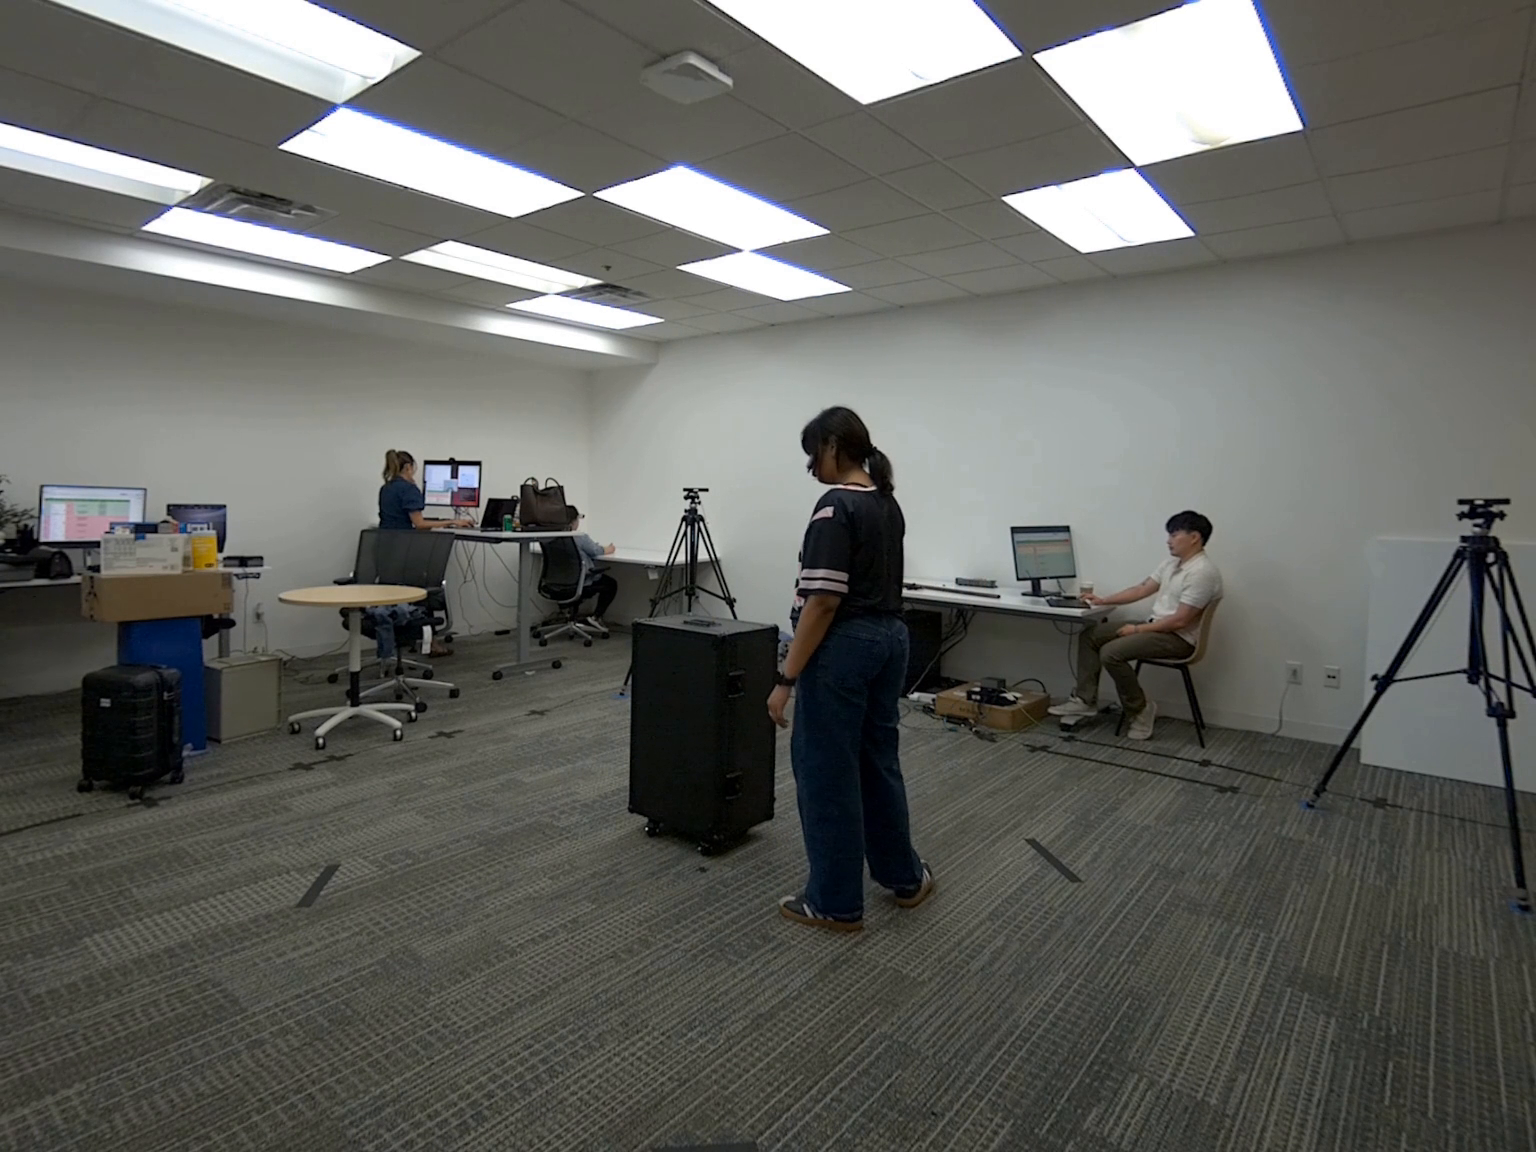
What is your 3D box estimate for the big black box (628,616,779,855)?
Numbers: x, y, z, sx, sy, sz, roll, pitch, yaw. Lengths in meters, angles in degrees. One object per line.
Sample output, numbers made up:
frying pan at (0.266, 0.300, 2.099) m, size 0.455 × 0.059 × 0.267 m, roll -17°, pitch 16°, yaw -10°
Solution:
big black box at (-0.273, 0.611, 3.444) m, size 0.538 × 0.860 × 0.384 m, roll 3°, pitch 2°, yaw 39°
